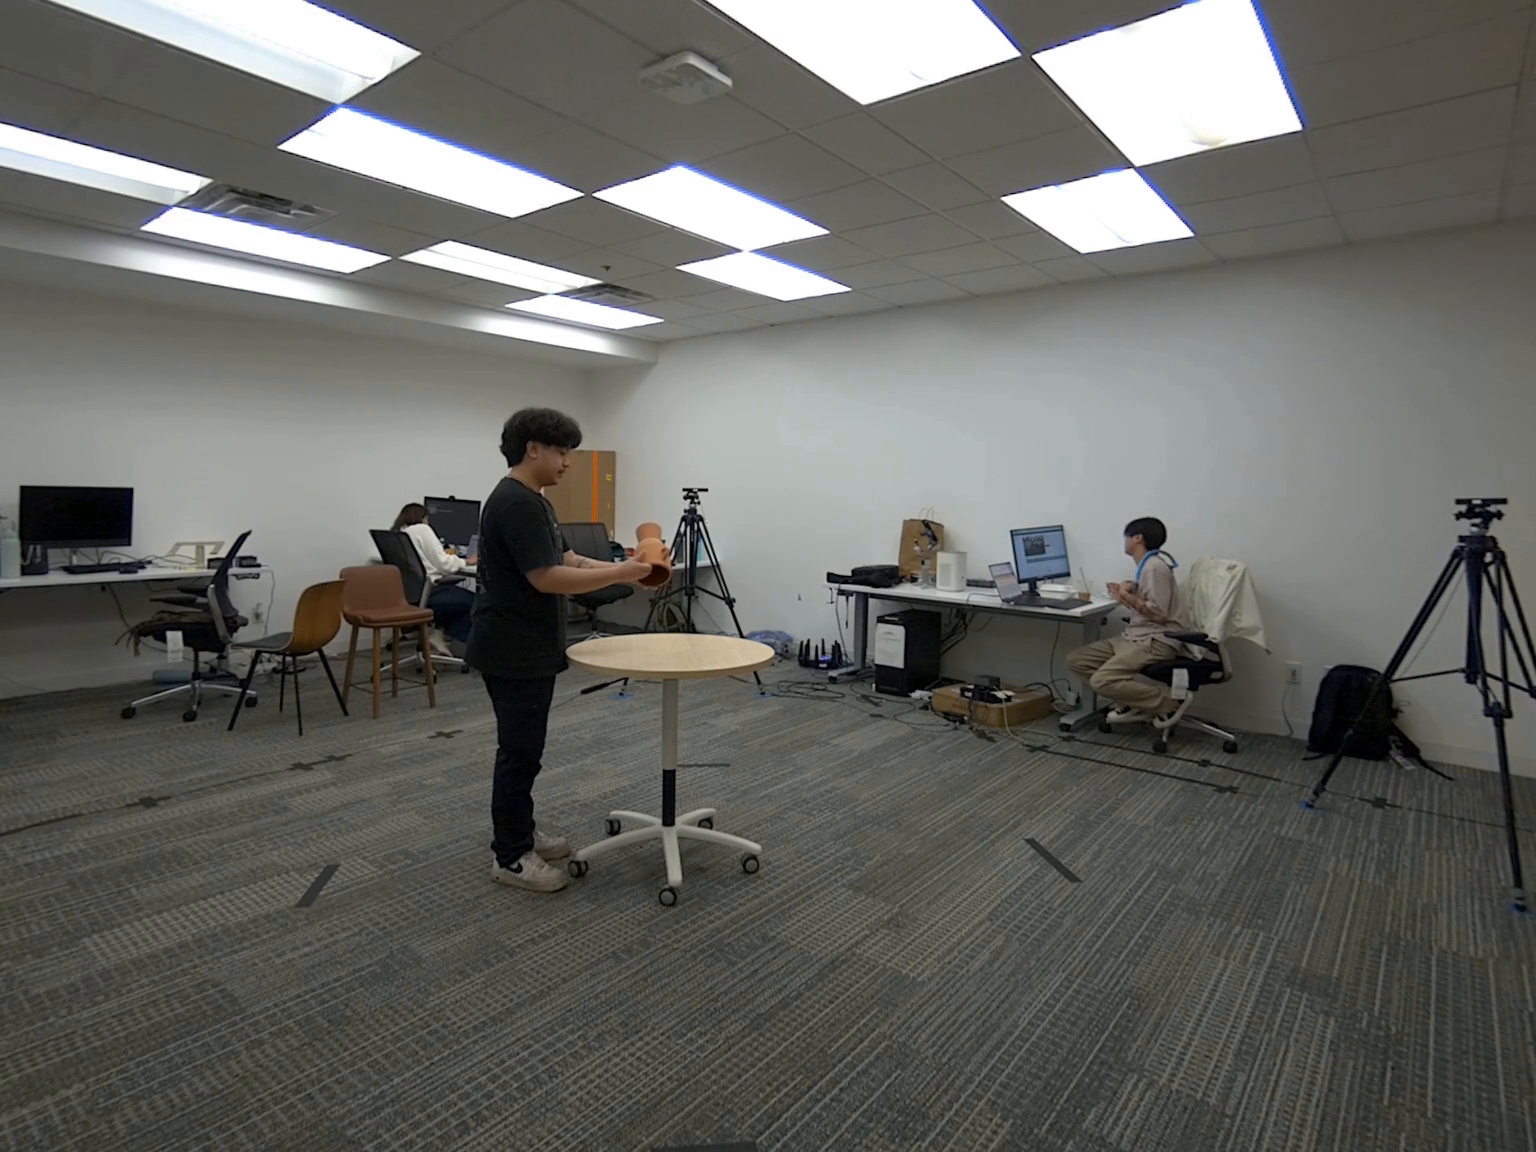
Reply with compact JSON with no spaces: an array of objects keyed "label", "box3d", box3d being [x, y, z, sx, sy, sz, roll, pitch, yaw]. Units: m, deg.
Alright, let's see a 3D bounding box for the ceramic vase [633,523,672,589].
[{"label":"ceramic vase","box3d":[-0.443,-0.088,3.112,0.159,0.227,0.130,-11,-41,-2]}]
